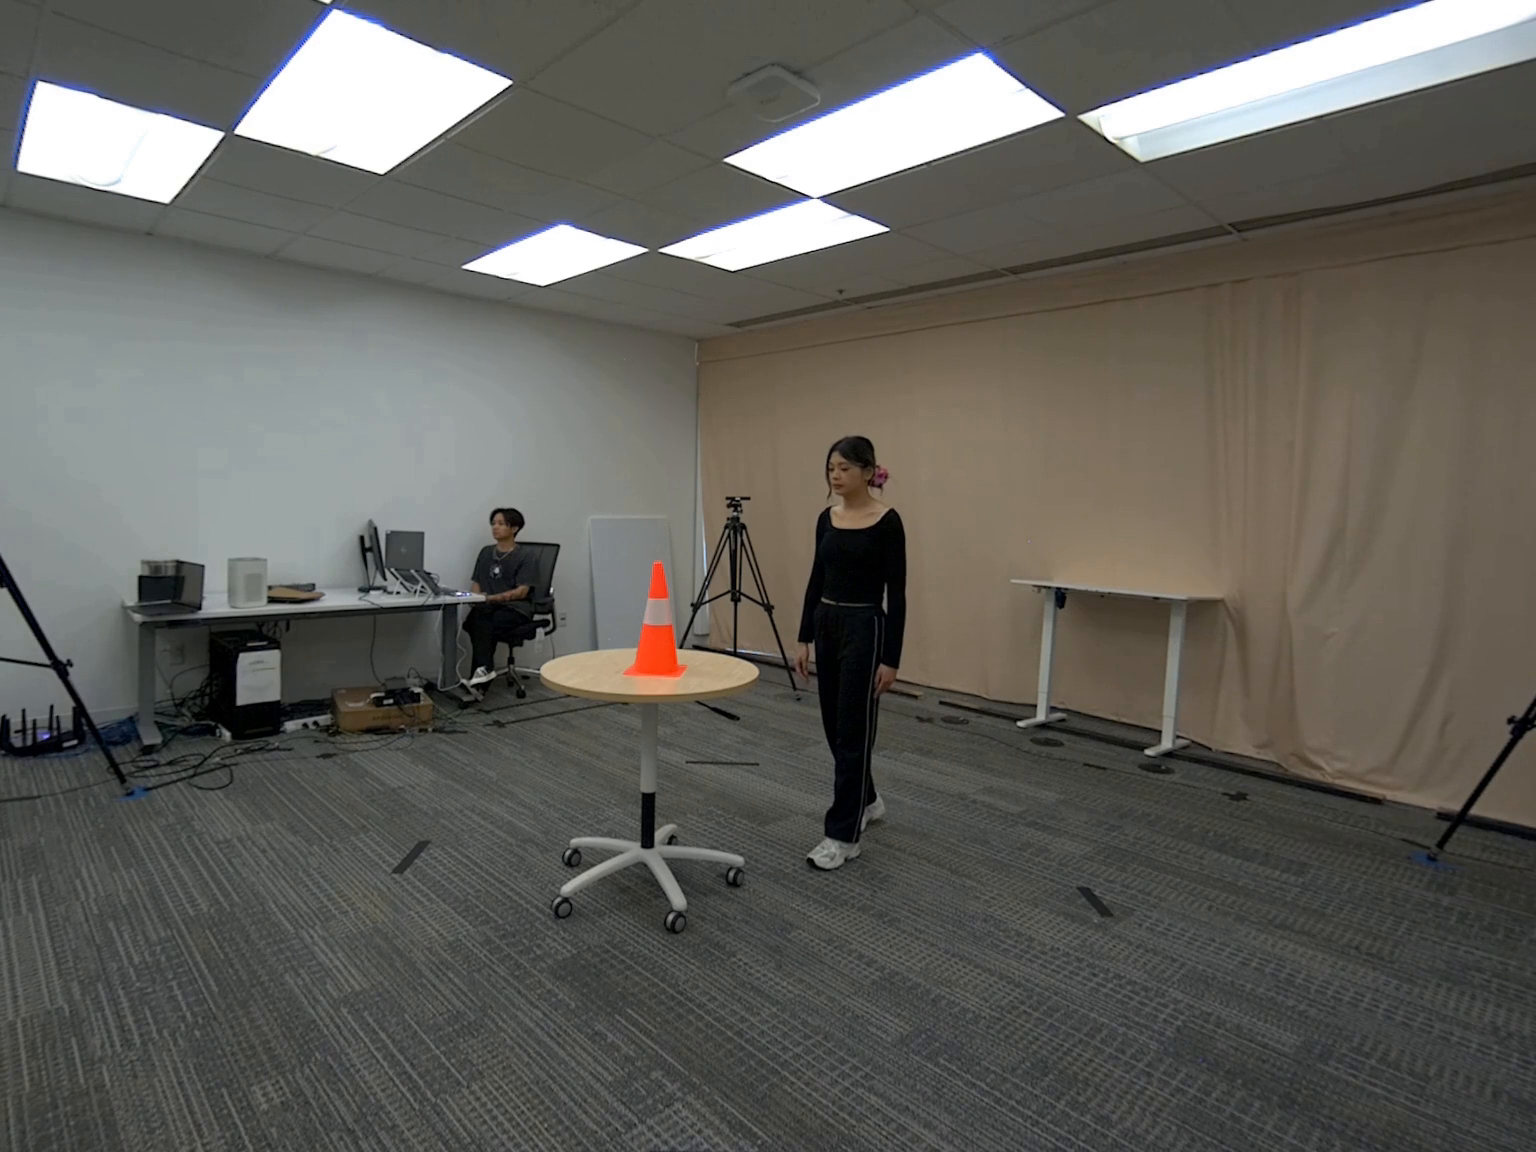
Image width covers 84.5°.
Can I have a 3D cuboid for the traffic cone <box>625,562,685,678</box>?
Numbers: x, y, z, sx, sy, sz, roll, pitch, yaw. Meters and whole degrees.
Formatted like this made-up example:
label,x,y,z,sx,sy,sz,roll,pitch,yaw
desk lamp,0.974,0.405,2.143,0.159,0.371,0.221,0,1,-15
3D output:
label,x,y,z,sx,sy,sz,roll,pitch,yaw
traffic cone,-0.393,0.146,2.927,0.204,0.382,0.205,2,5,5
